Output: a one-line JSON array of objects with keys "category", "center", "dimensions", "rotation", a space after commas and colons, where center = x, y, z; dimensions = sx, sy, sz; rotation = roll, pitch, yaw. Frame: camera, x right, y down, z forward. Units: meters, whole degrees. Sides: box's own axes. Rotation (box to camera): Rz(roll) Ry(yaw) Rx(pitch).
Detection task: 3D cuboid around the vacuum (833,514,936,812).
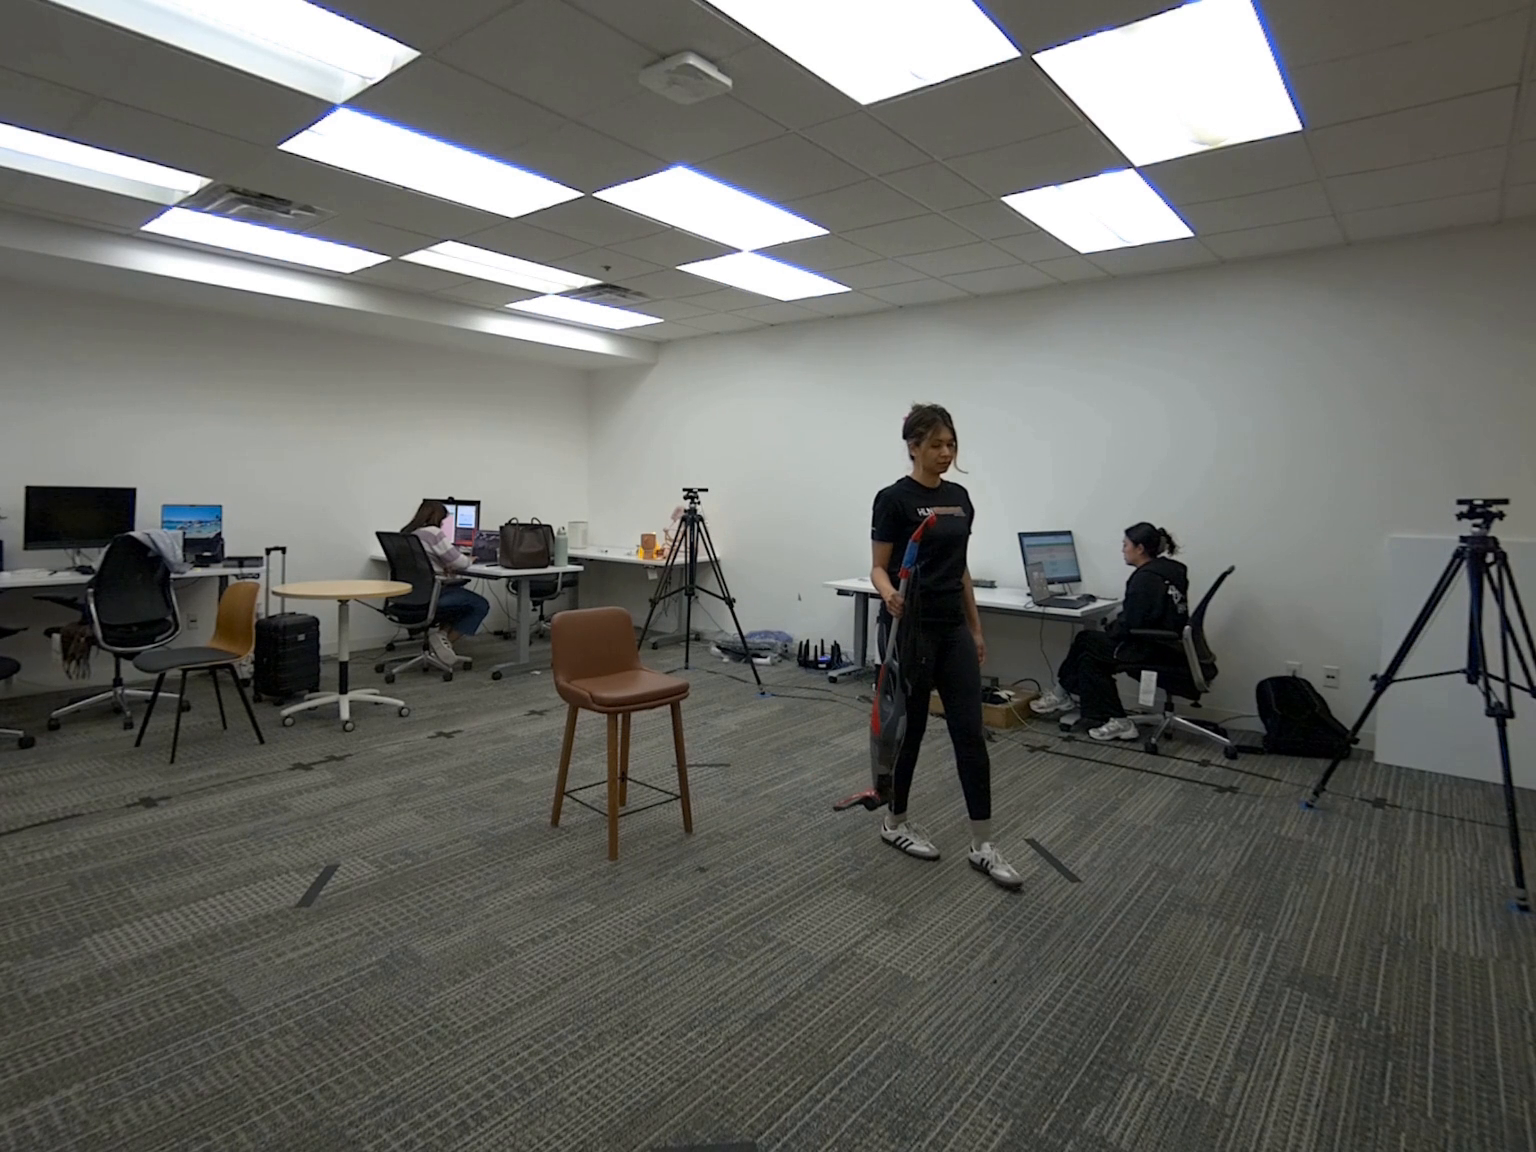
[{"category": "vacuum", "center": [0.449, 0.309, 2.933], "dimensions": [0.150, 1.040, 0.245], "rotation": [21, 15, 40]}]
